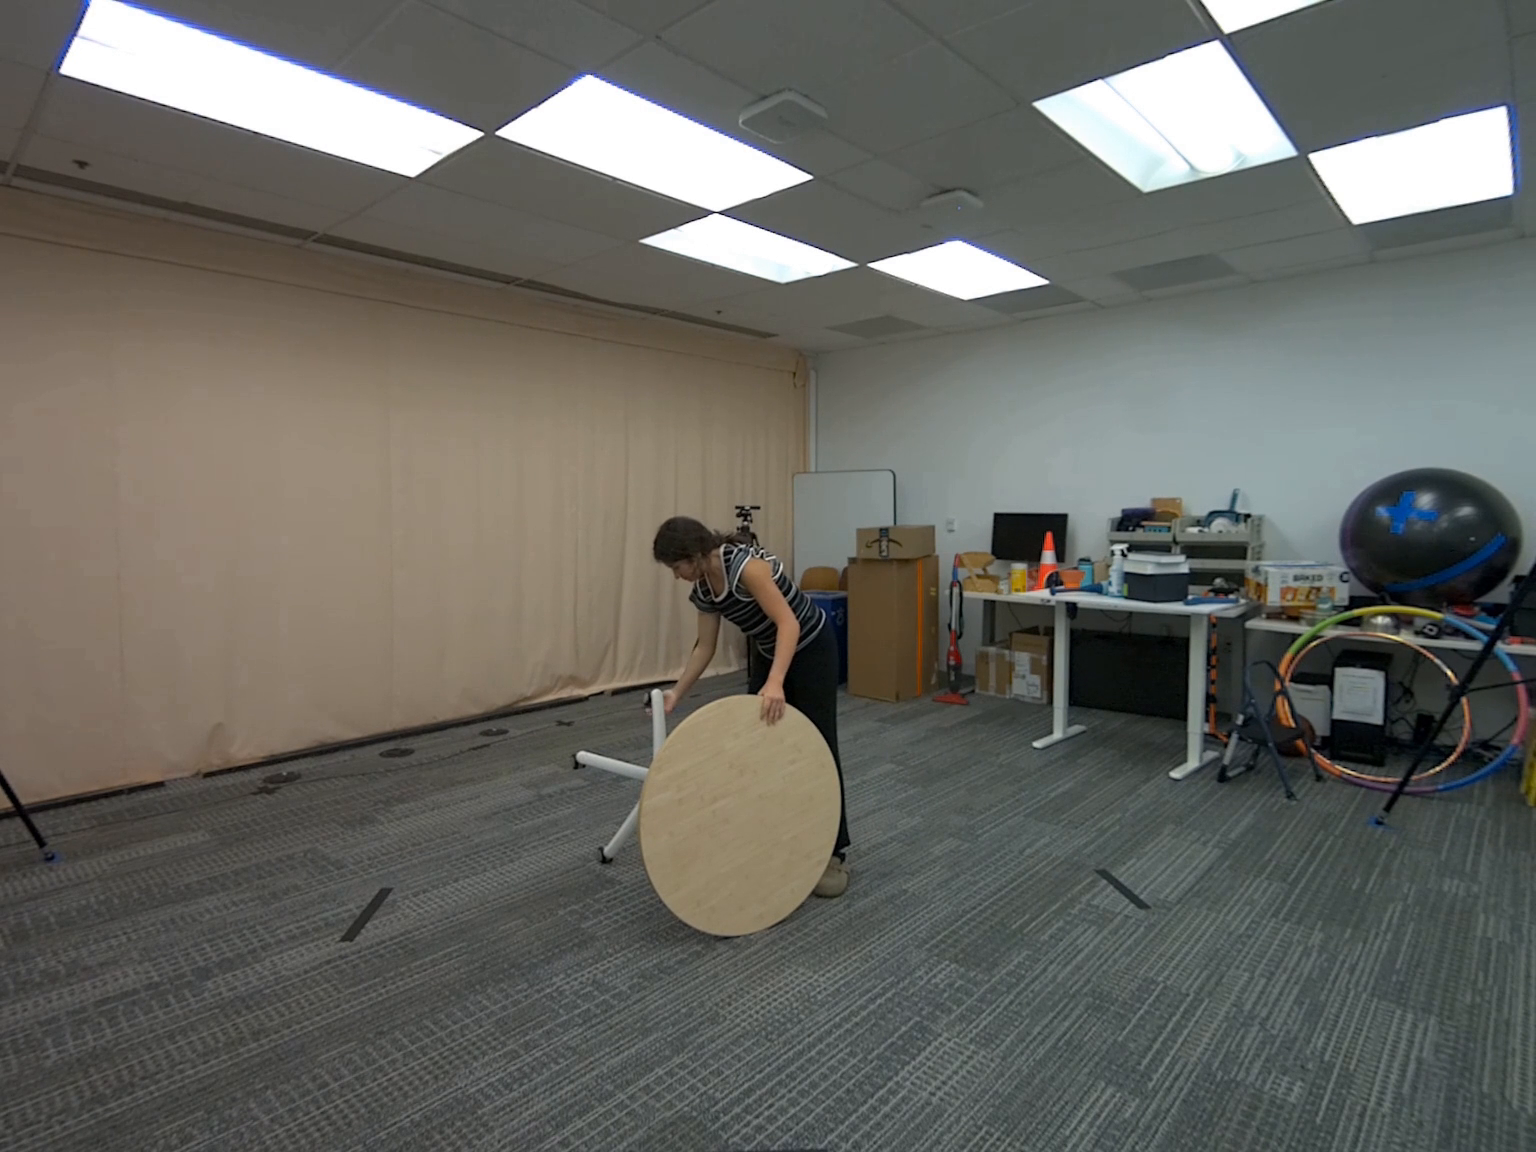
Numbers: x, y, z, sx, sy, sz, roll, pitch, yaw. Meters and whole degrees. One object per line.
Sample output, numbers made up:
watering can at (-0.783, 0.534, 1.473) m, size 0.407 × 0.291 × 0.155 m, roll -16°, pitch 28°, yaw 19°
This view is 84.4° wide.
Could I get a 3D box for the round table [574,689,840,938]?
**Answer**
round table at (-0.283, 0.800, 3.109) m, size 0.743 × 0.765 × 0.815 m, roll -2°, pitch -1°, yaw -31°
